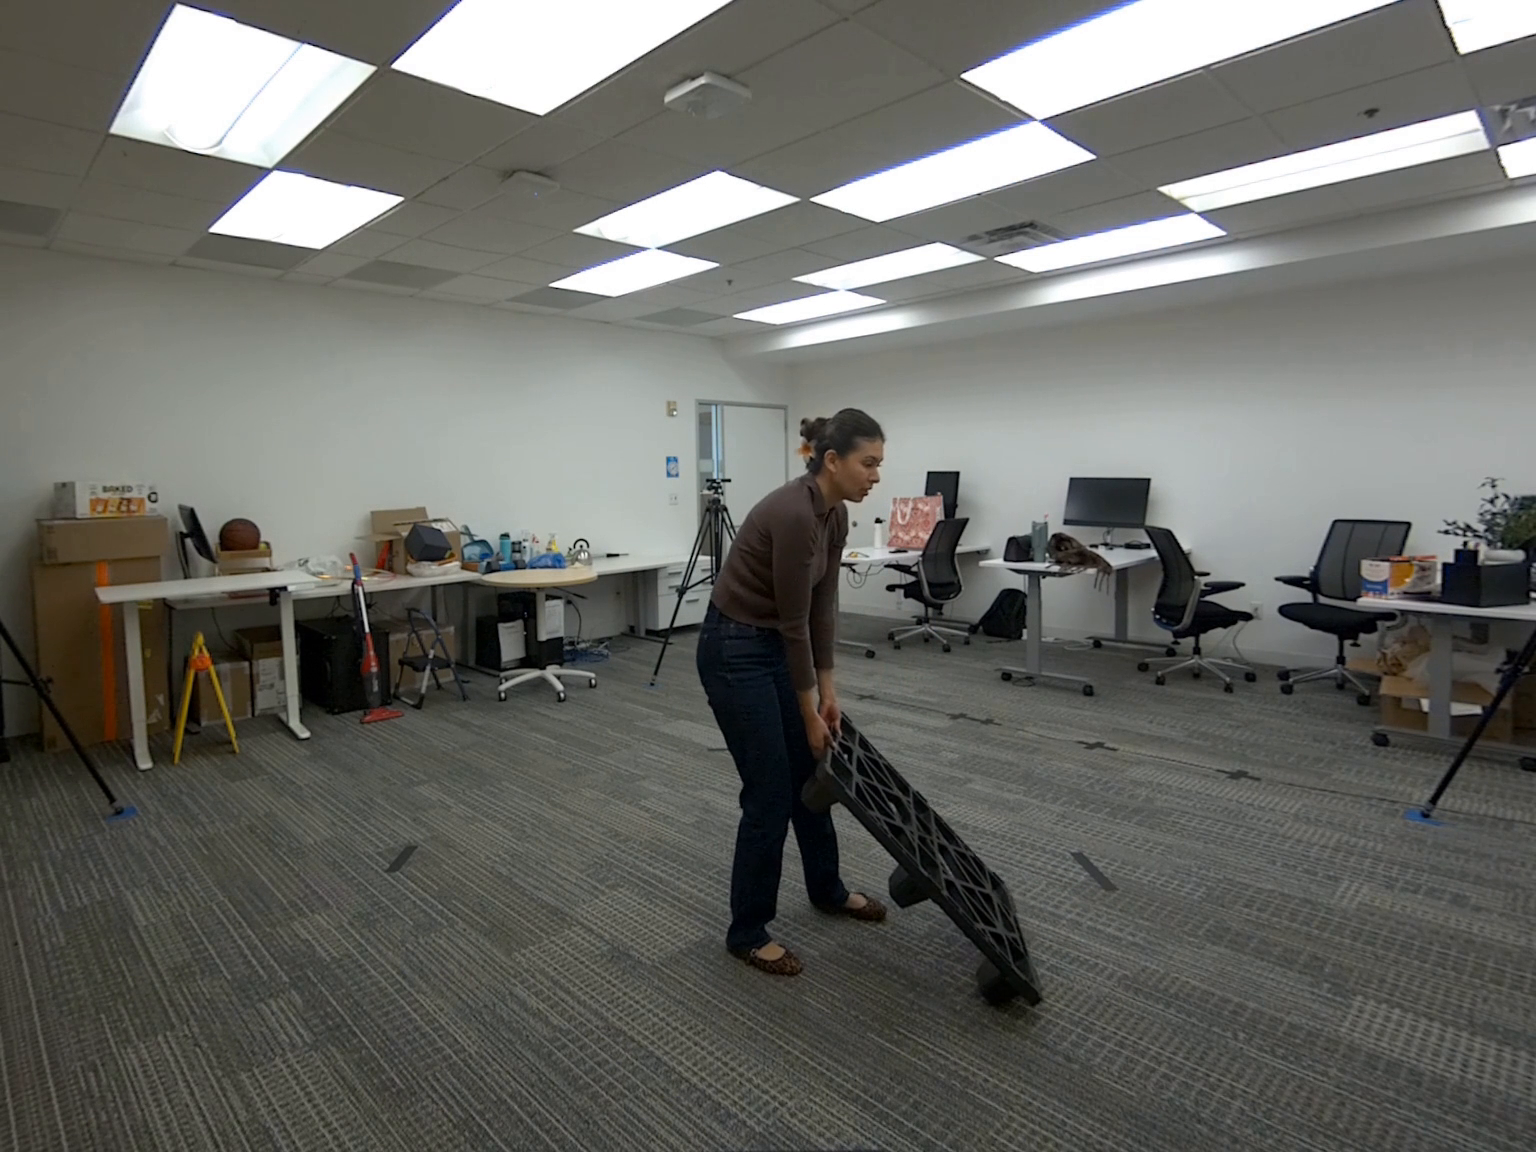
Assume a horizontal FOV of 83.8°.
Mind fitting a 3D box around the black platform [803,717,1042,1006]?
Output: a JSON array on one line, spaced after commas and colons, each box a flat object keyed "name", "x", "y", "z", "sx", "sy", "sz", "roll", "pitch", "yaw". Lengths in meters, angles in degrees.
[{"name": "black platform", "x": 0.421, "y": 0.794, "z": 2.491, "sx": 0.143, "sy": 0.809, "sz": 0.602, "roll": -44, "pitch": -2, "yaw": 9}]
